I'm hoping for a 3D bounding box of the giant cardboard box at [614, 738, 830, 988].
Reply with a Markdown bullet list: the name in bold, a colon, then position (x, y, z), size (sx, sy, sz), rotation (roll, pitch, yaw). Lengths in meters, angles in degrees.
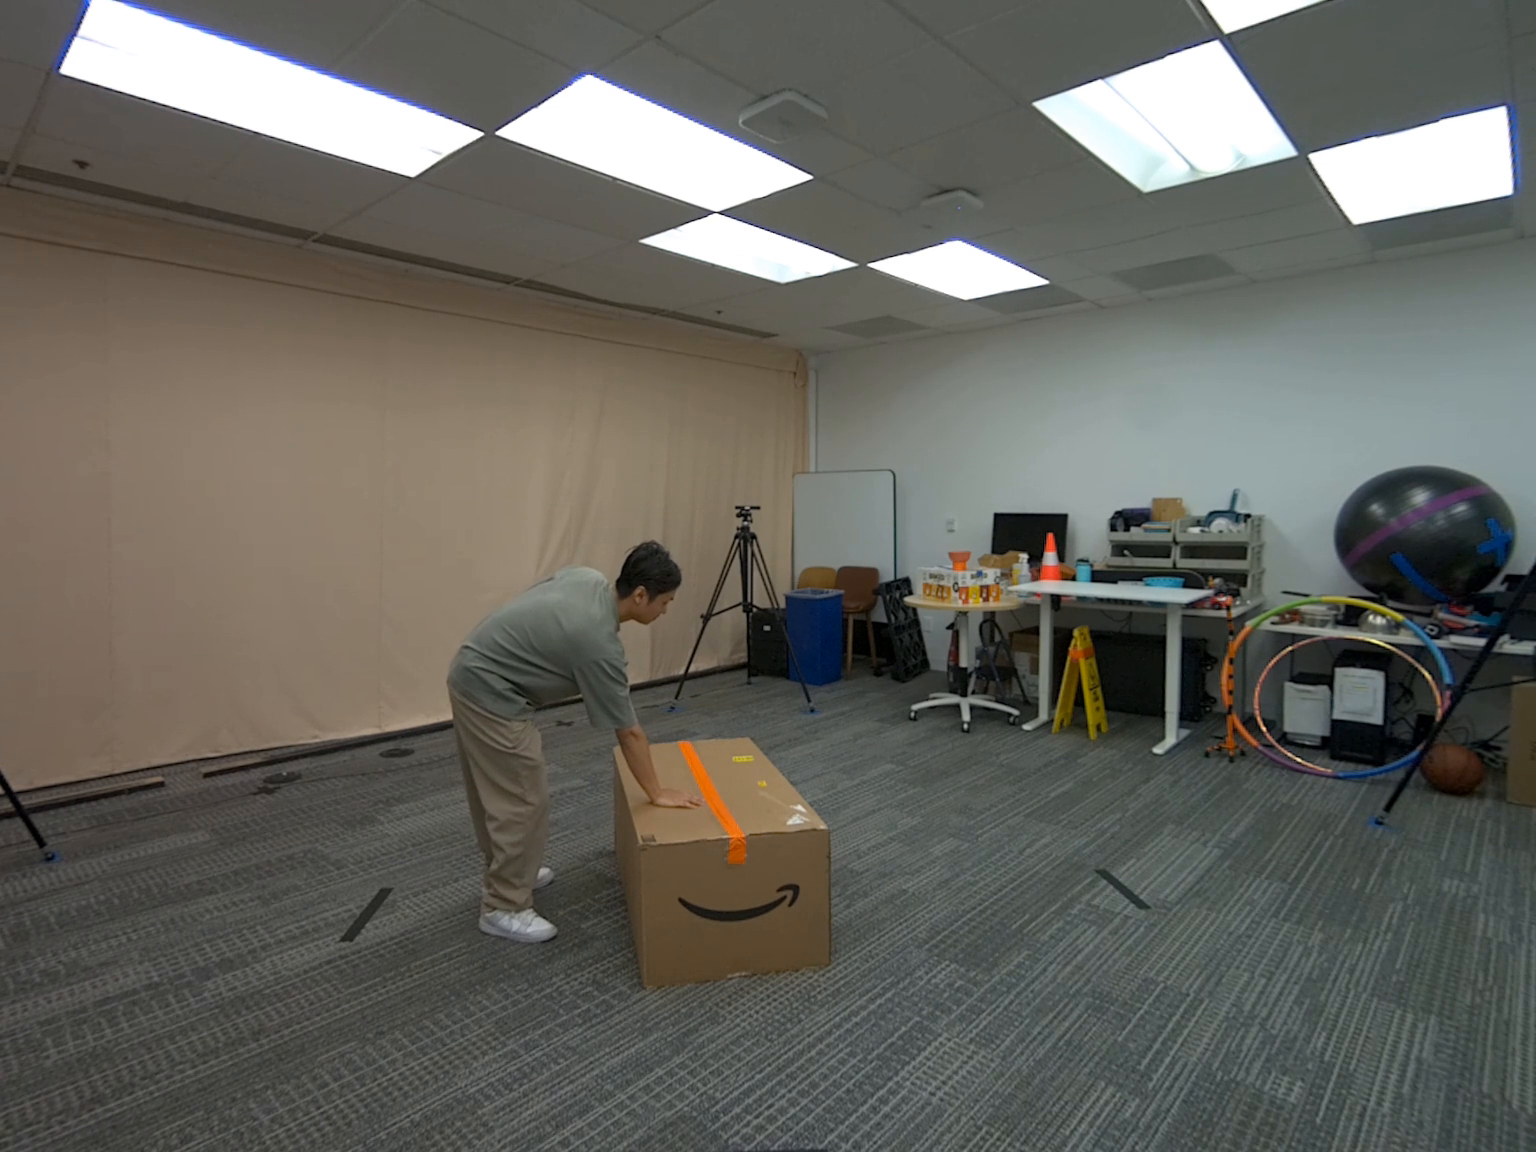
- **giant cardboard box**: position (-0.216, 0.933, 2.973), size (0.569, 0.425, 1.043), rotation (-1, 5, -14)
